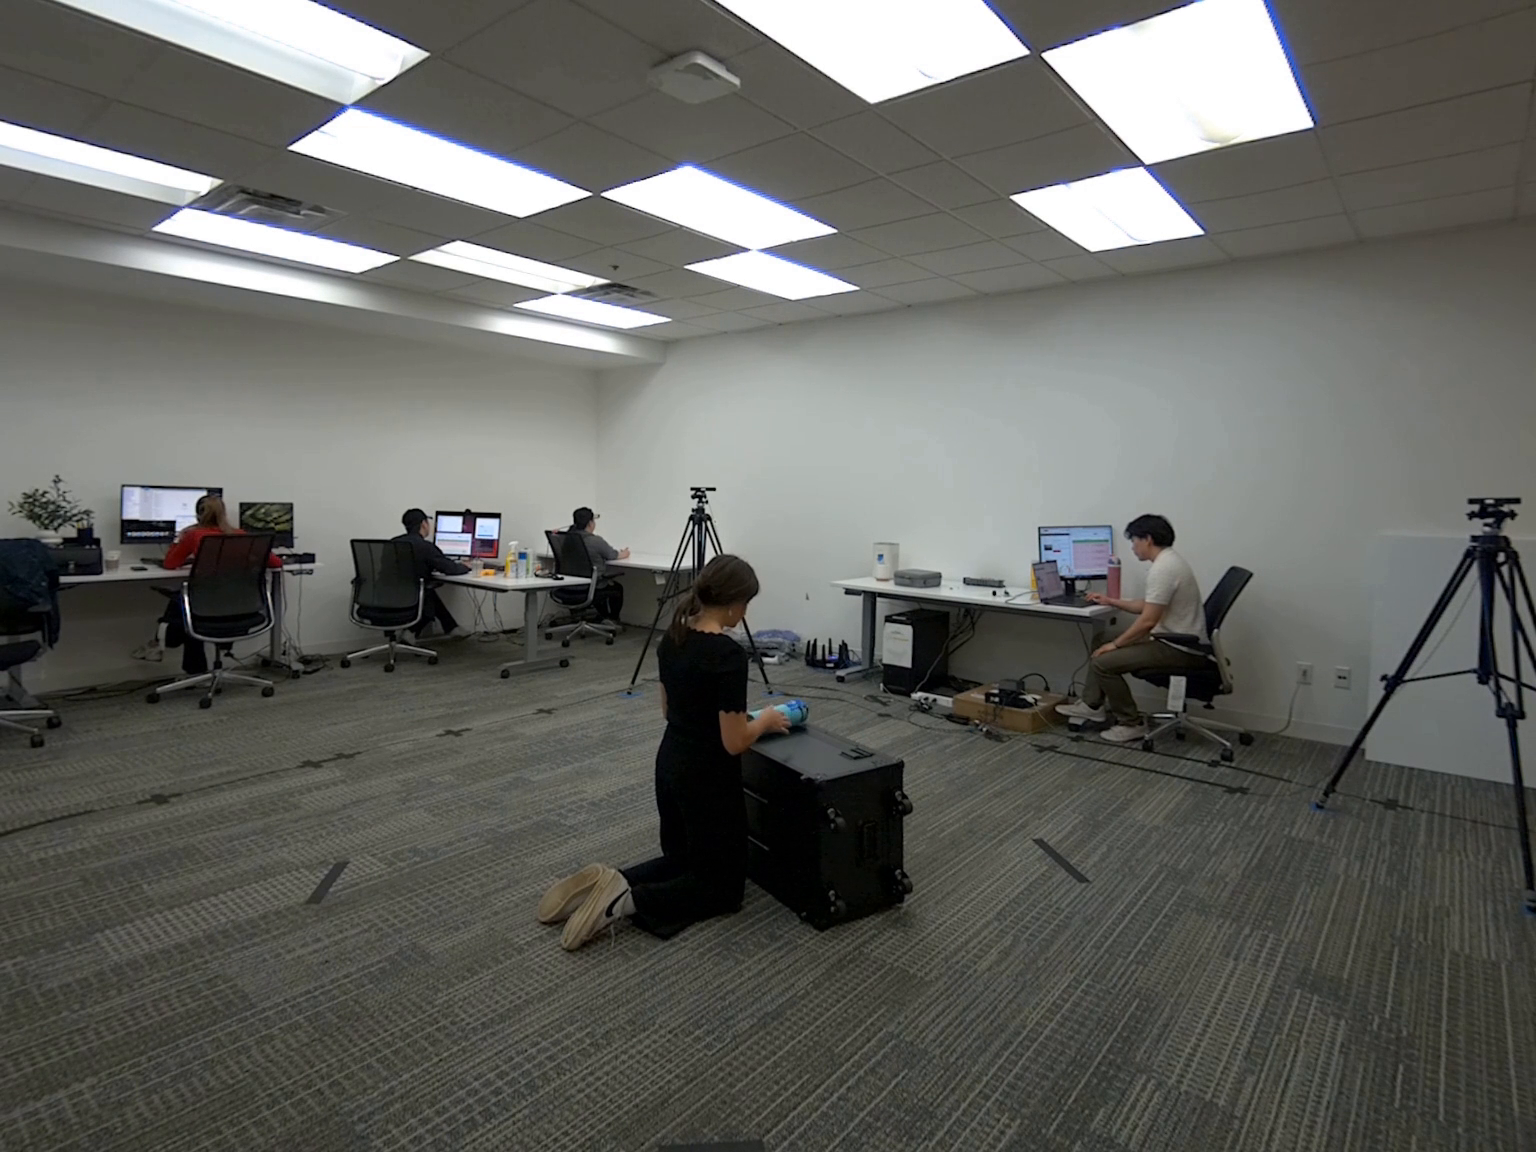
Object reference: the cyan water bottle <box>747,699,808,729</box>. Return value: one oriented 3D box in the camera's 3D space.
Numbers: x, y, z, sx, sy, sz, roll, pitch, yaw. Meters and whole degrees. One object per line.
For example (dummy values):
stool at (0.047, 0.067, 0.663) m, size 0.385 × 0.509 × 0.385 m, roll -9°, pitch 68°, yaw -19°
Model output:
cyan water bottle at (0.022, 0.529, 3.179) m, size 0.276 × 0.092 × 0.095 m, roll -7°, pitch 8°, yaw -37°
